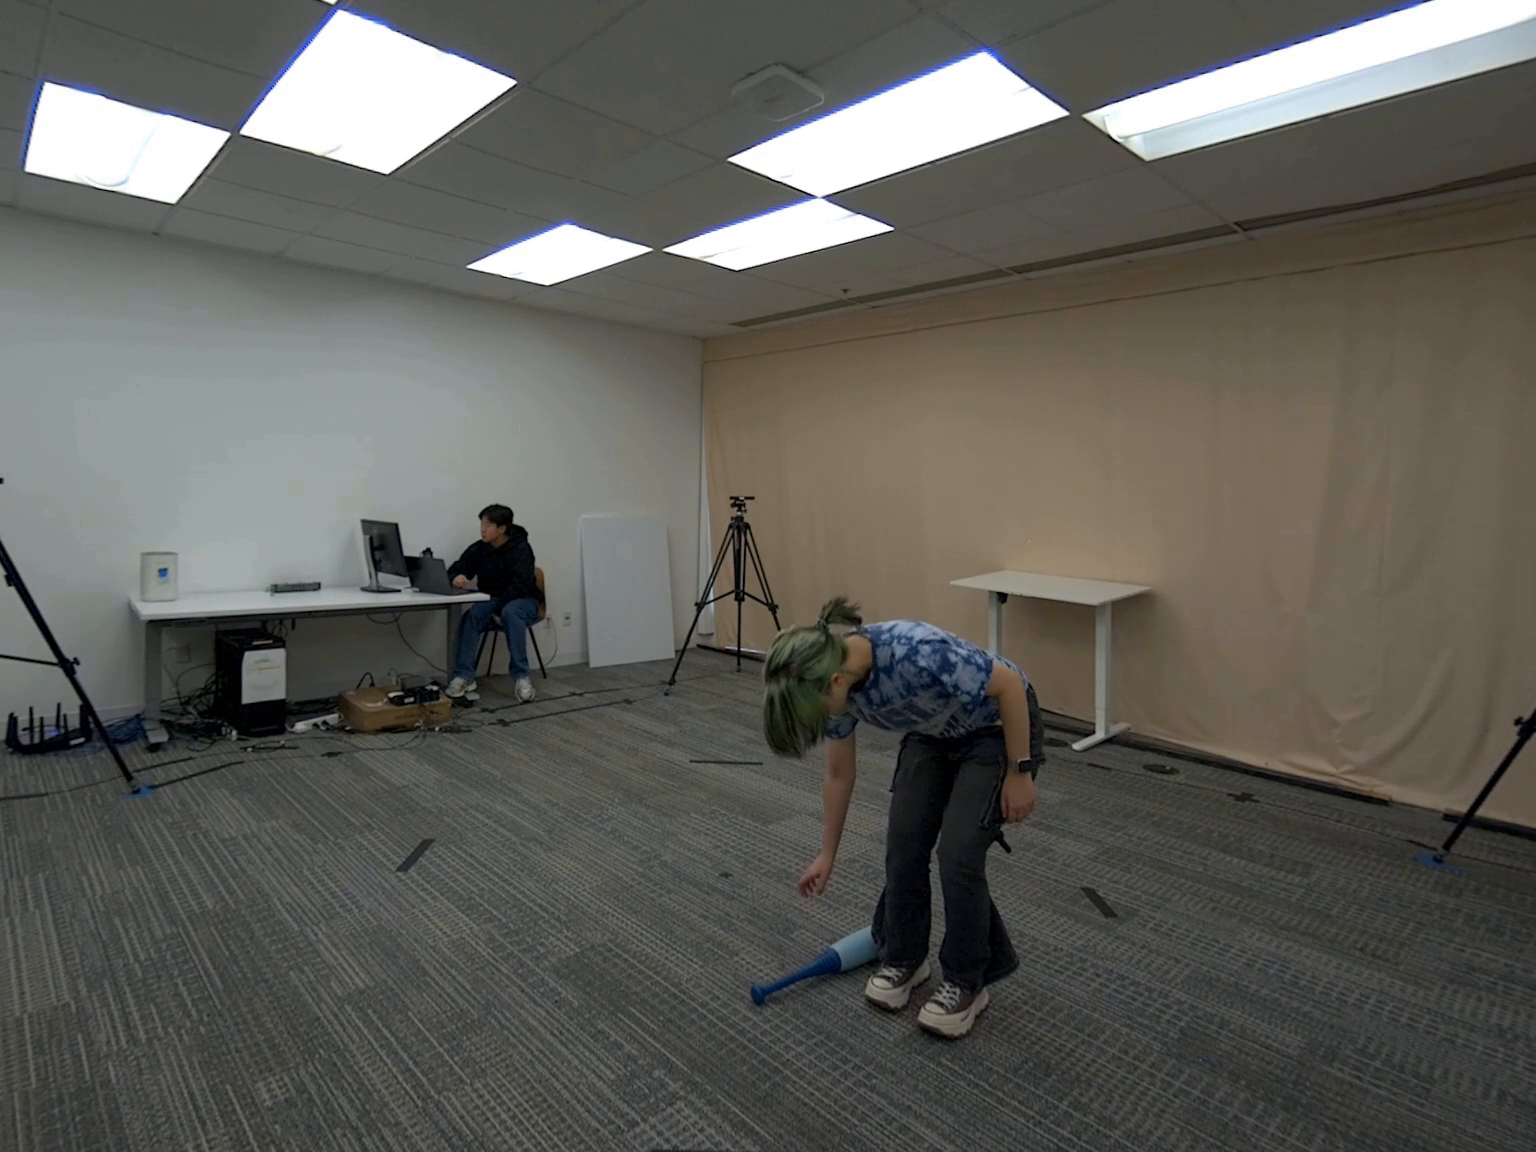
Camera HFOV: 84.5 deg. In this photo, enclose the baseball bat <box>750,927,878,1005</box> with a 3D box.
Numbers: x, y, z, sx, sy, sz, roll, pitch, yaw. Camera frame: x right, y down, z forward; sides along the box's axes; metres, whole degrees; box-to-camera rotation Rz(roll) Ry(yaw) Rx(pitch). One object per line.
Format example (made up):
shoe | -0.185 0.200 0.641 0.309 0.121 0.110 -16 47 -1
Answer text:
baseball bat | 0.175 1.133 2.460 0.532 0.089 0.091 -6 8 -37
